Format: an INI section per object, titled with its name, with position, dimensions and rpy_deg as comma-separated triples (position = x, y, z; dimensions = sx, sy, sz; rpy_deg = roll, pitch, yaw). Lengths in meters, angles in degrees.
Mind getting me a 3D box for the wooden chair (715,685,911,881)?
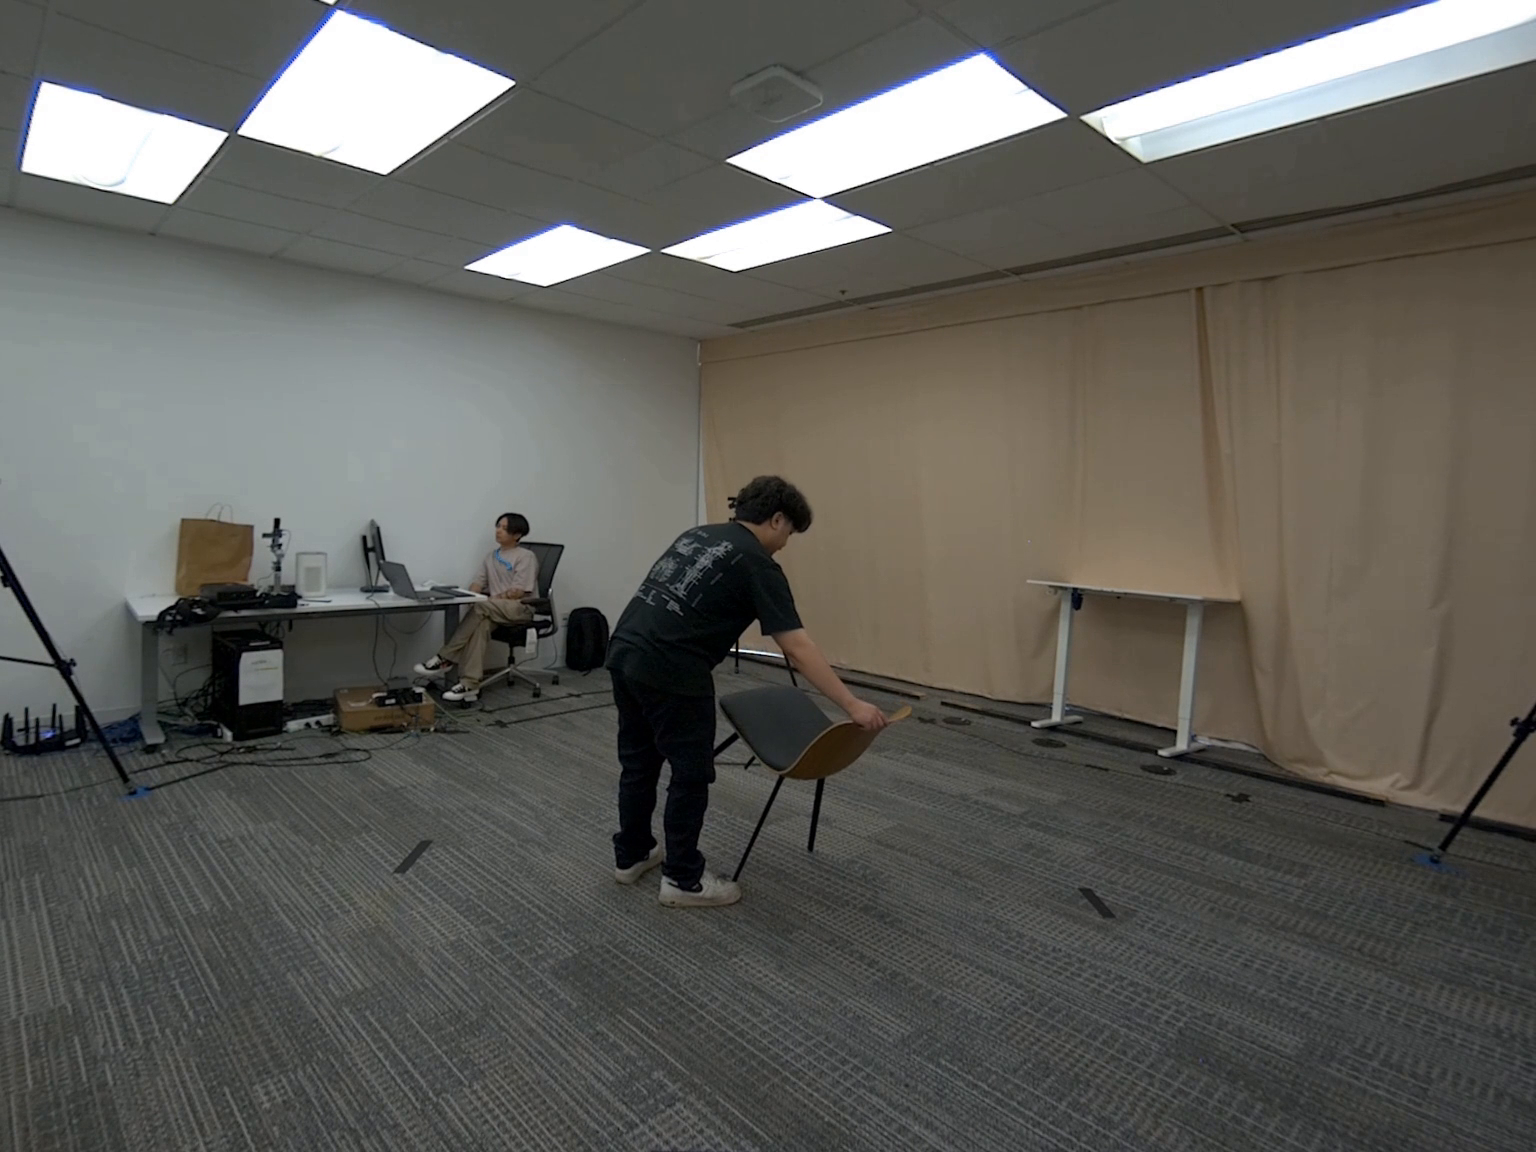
[wooden chair]
position = 0.066, 0.626, 3.135
dimensions = 0.467, 0.872, 0.538
rpy_deg = -3, 44, -46
